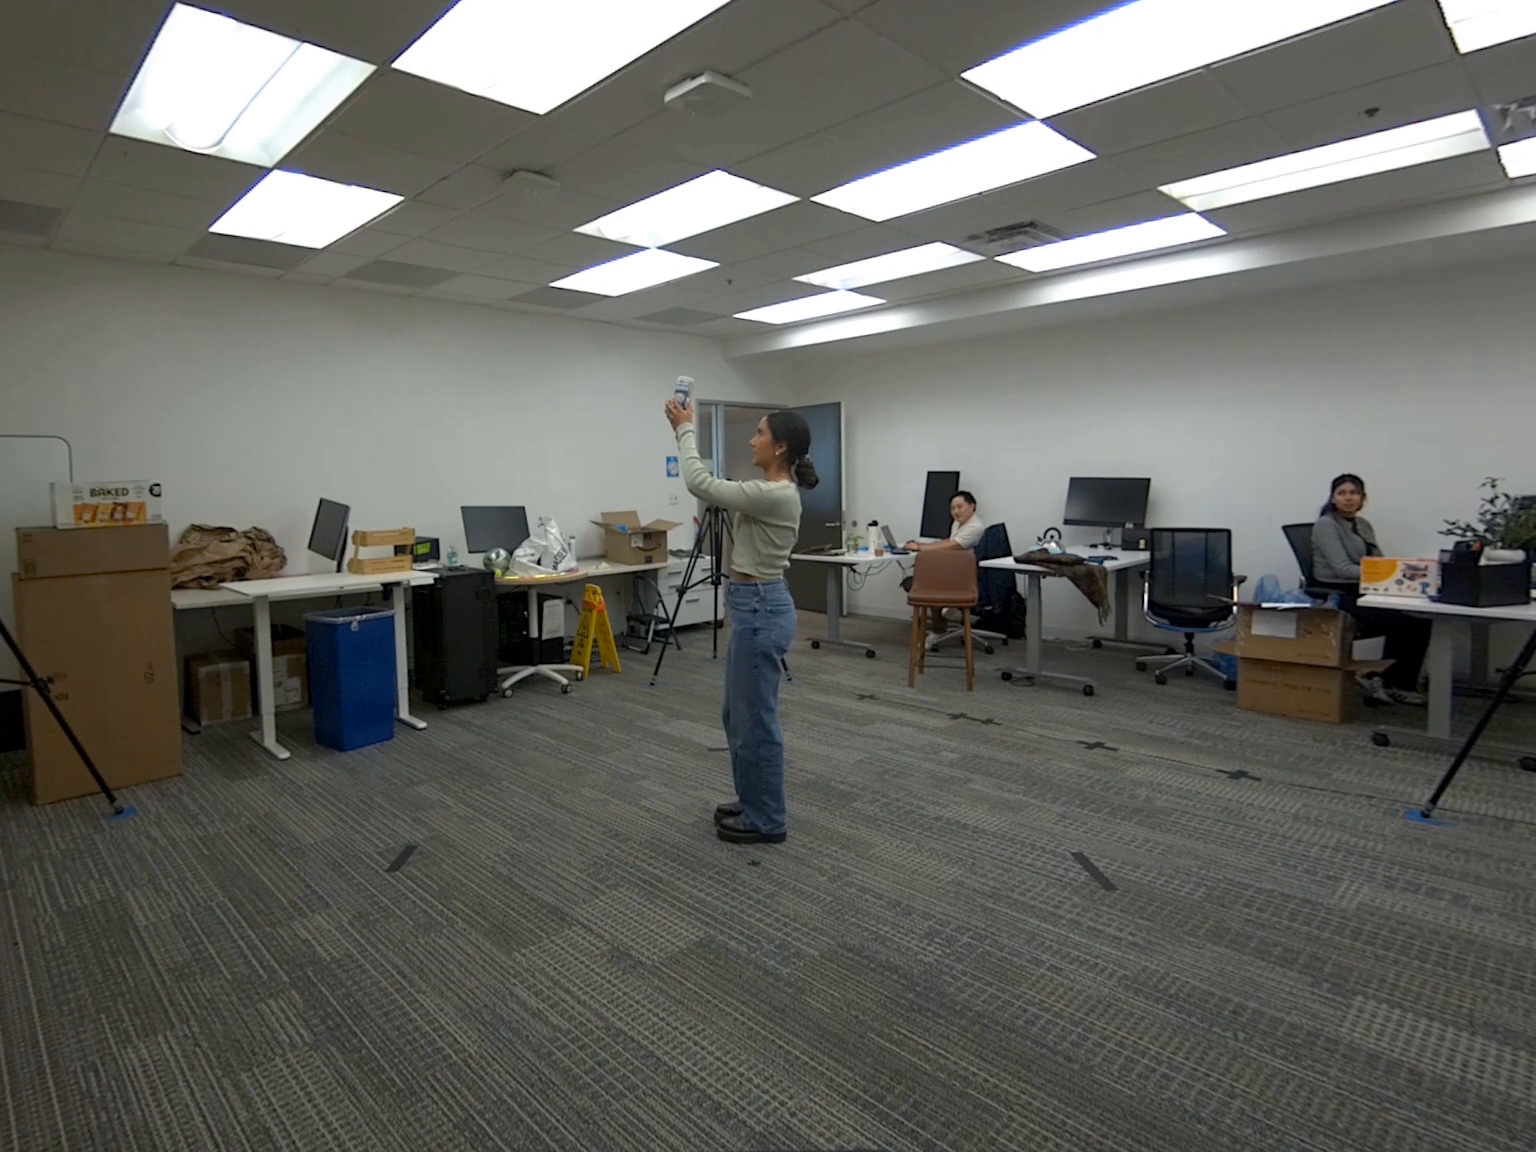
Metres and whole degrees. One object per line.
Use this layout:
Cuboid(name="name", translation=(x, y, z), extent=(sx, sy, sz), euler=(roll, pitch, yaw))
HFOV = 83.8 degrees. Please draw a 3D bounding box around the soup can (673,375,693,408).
Cuboid(name="soup can", translation=(-0.331, -0.703, 3.296), extent=(0.067, 0.122, 0.067), euler=(10, -1, -2))
